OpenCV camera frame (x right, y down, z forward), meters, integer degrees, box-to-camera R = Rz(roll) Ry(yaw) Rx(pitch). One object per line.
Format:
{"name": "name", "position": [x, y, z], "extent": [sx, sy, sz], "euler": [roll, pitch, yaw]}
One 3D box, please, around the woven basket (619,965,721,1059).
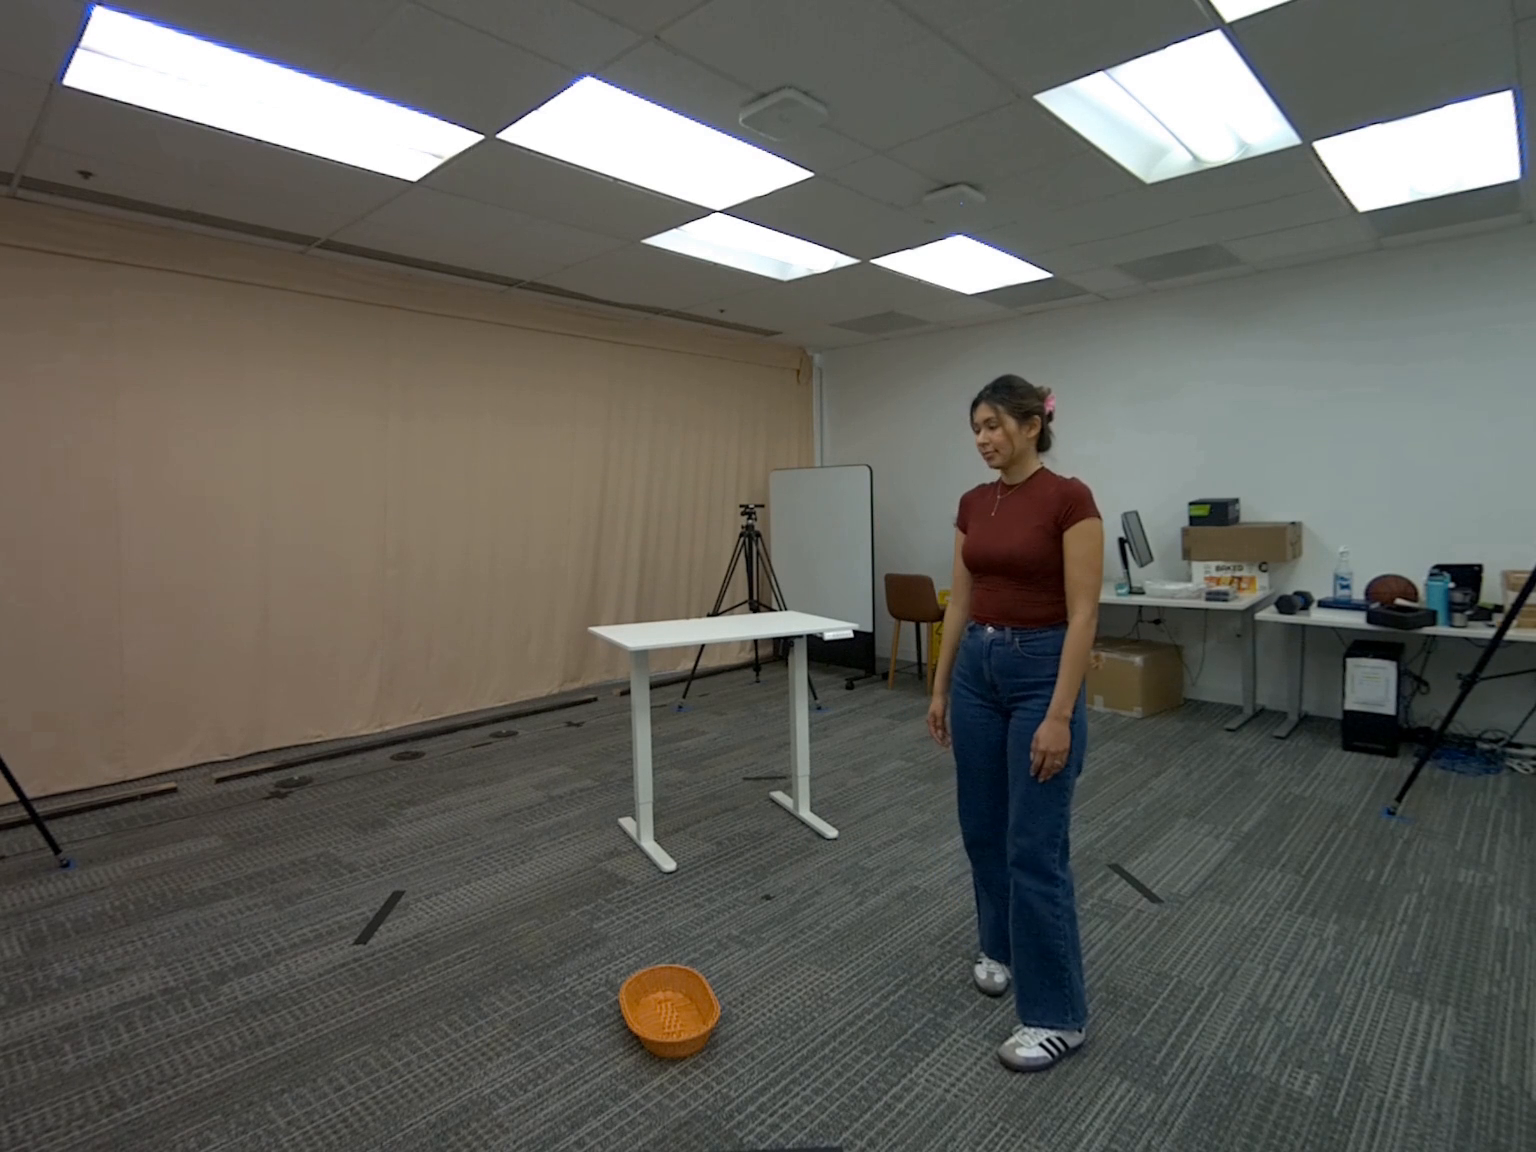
{"name": "woven basket", "position": [-0.262, 1.170, 2.257], "extent": [0.247, 0.073, 0.358], "euler": [-3, 5, -21]}
